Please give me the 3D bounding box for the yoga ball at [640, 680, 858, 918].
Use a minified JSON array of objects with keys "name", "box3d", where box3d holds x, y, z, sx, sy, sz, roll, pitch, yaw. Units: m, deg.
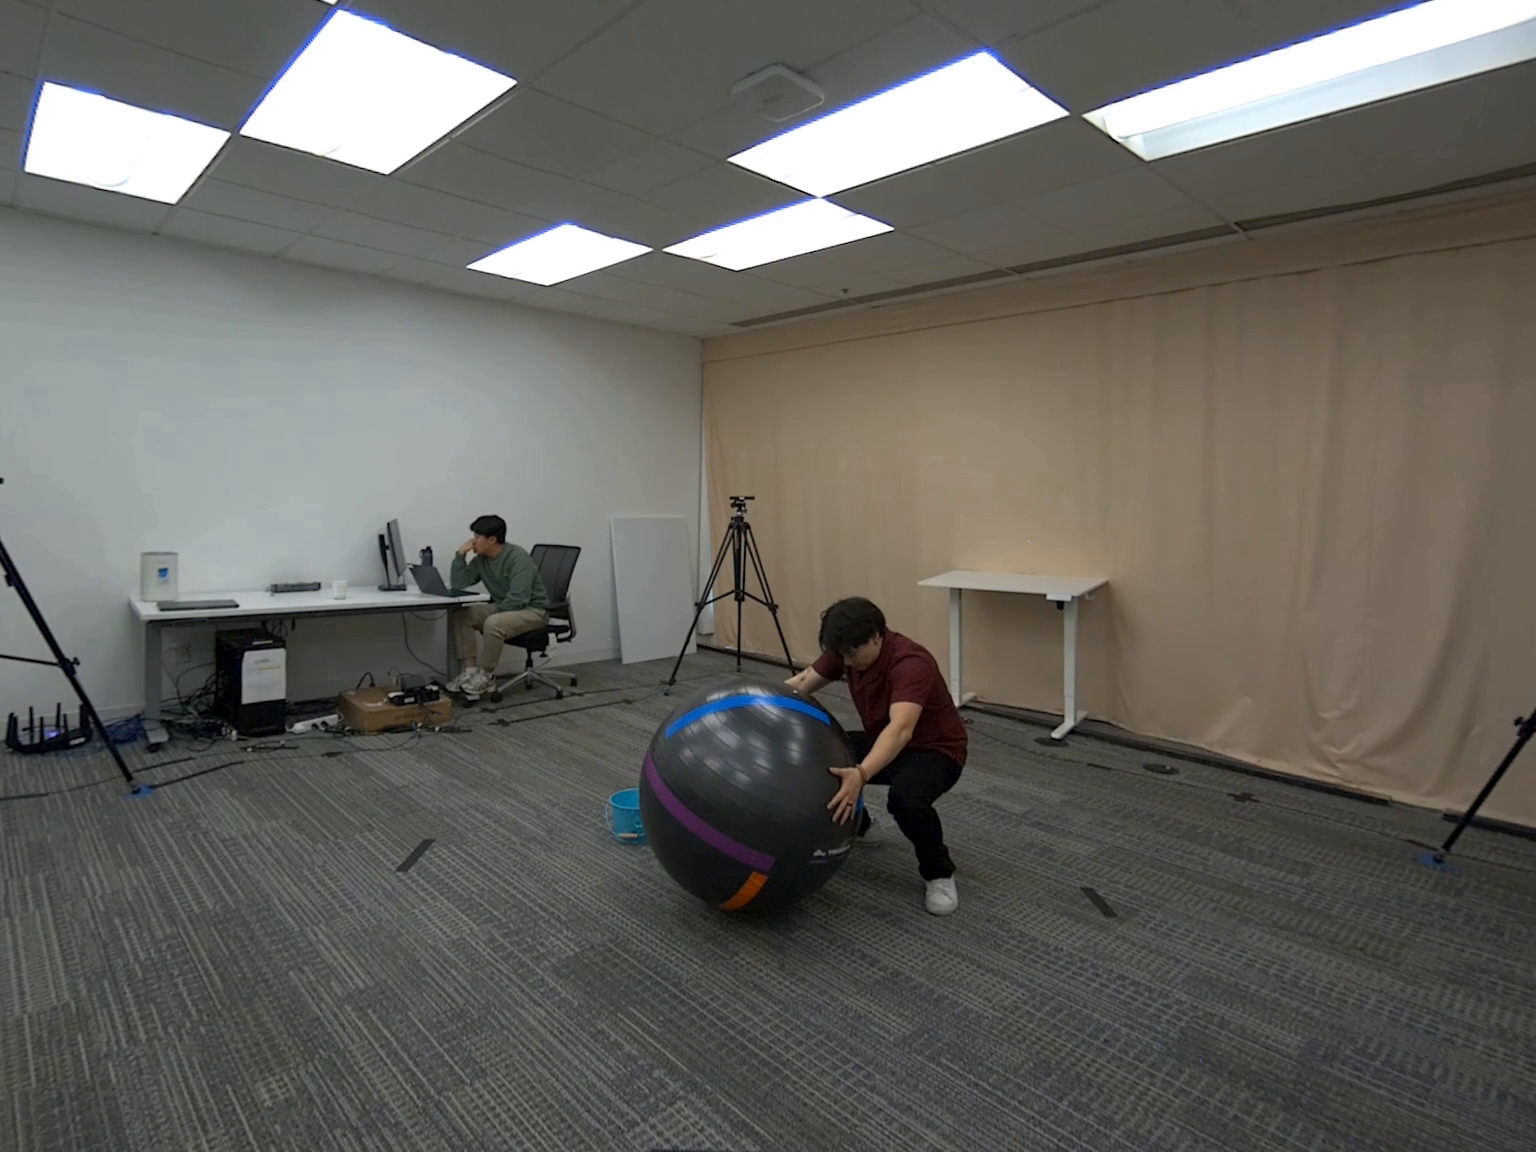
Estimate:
[{"name":"yoga ball","box3d":[-0.061,0.732,2.847,0.757,0.756,0.761,1,4,-1]}]
